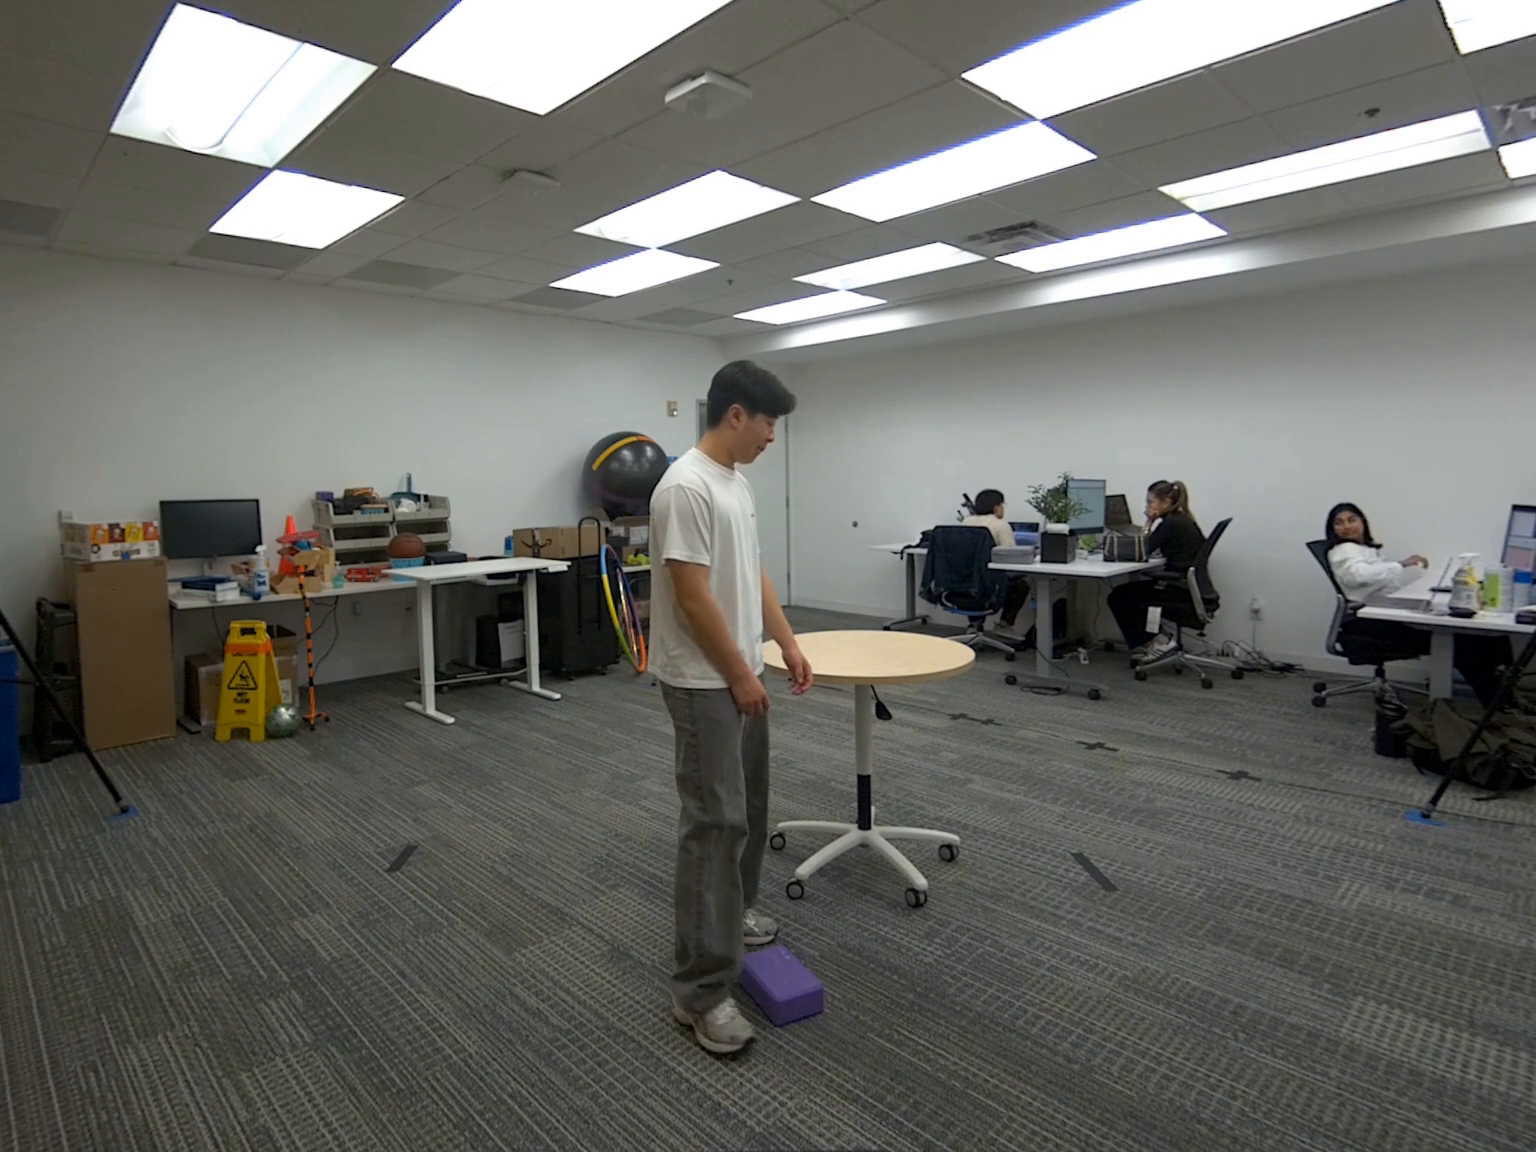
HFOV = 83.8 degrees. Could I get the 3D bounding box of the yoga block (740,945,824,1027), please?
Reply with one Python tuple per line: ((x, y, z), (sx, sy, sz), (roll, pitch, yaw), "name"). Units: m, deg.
((0.037, 1.096, 2.311), (0.146, 0.076, 0.235), (-4, 8, -27), "yoga block")
